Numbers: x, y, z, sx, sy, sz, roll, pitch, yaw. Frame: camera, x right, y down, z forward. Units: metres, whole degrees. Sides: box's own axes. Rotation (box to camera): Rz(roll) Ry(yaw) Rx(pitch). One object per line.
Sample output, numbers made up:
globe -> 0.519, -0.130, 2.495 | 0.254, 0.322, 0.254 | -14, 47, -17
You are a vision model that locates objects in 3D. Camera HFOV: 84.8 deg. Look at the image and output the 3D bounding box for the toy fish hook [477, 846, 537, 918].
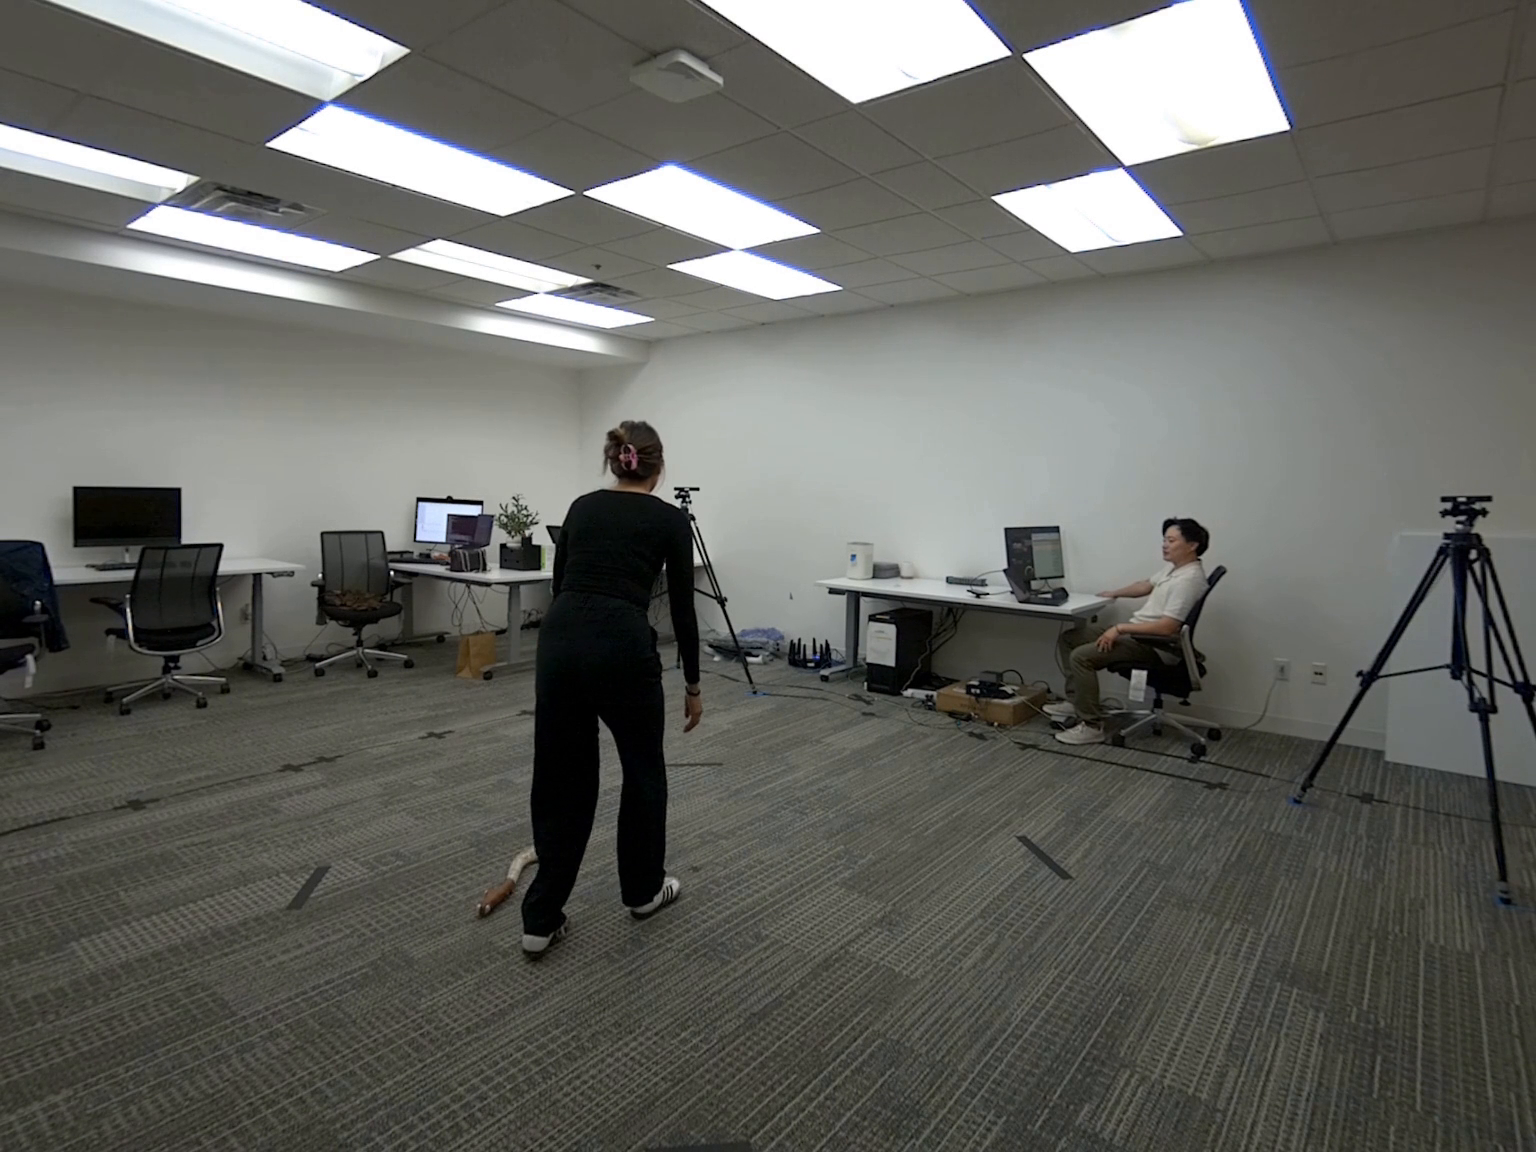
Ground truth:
toy fish hook -> -0.840, 1.050, 2.951 | 0.227, 0.048, 0.503 | 0, 6, 9
